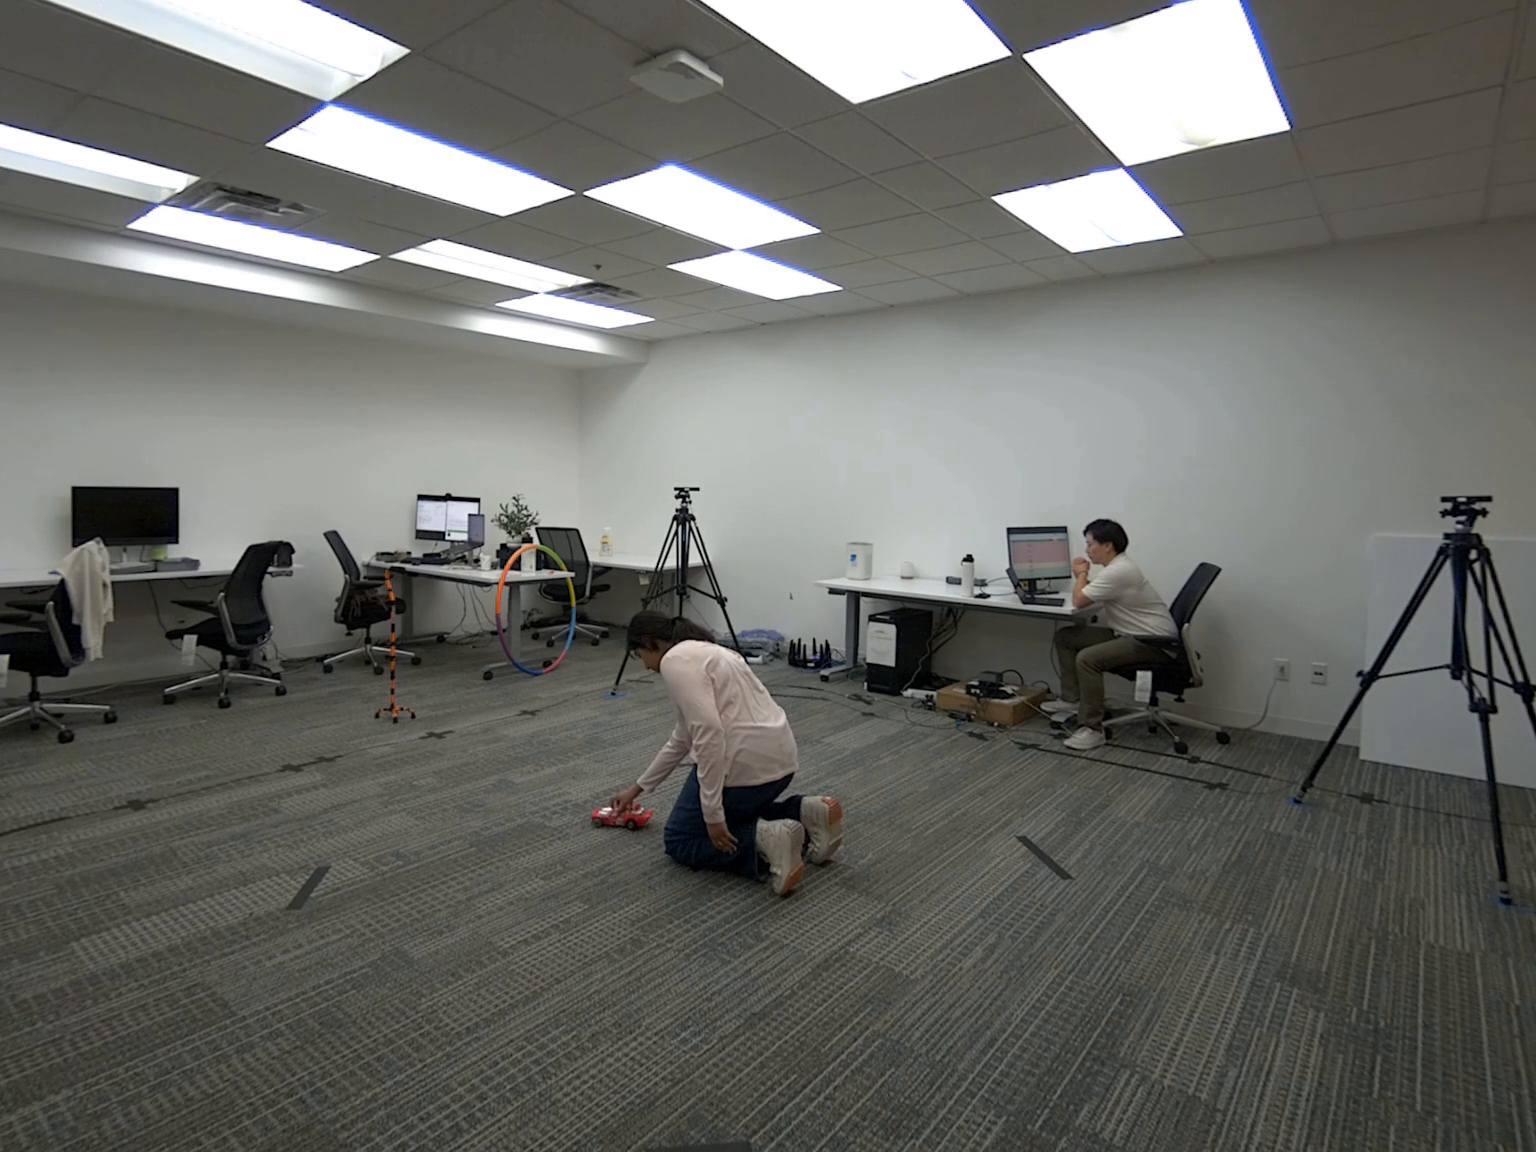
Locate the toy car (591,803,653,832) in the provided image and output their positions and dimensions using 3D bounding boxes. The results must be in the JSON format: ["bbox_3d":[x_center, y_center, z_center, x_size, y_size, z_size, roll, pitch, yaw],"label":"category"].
[{"bbox_3d":[-0.604,0.990,3.504,0.257,0.083,0.129,-9,1,10],"label":"toy car"}]
